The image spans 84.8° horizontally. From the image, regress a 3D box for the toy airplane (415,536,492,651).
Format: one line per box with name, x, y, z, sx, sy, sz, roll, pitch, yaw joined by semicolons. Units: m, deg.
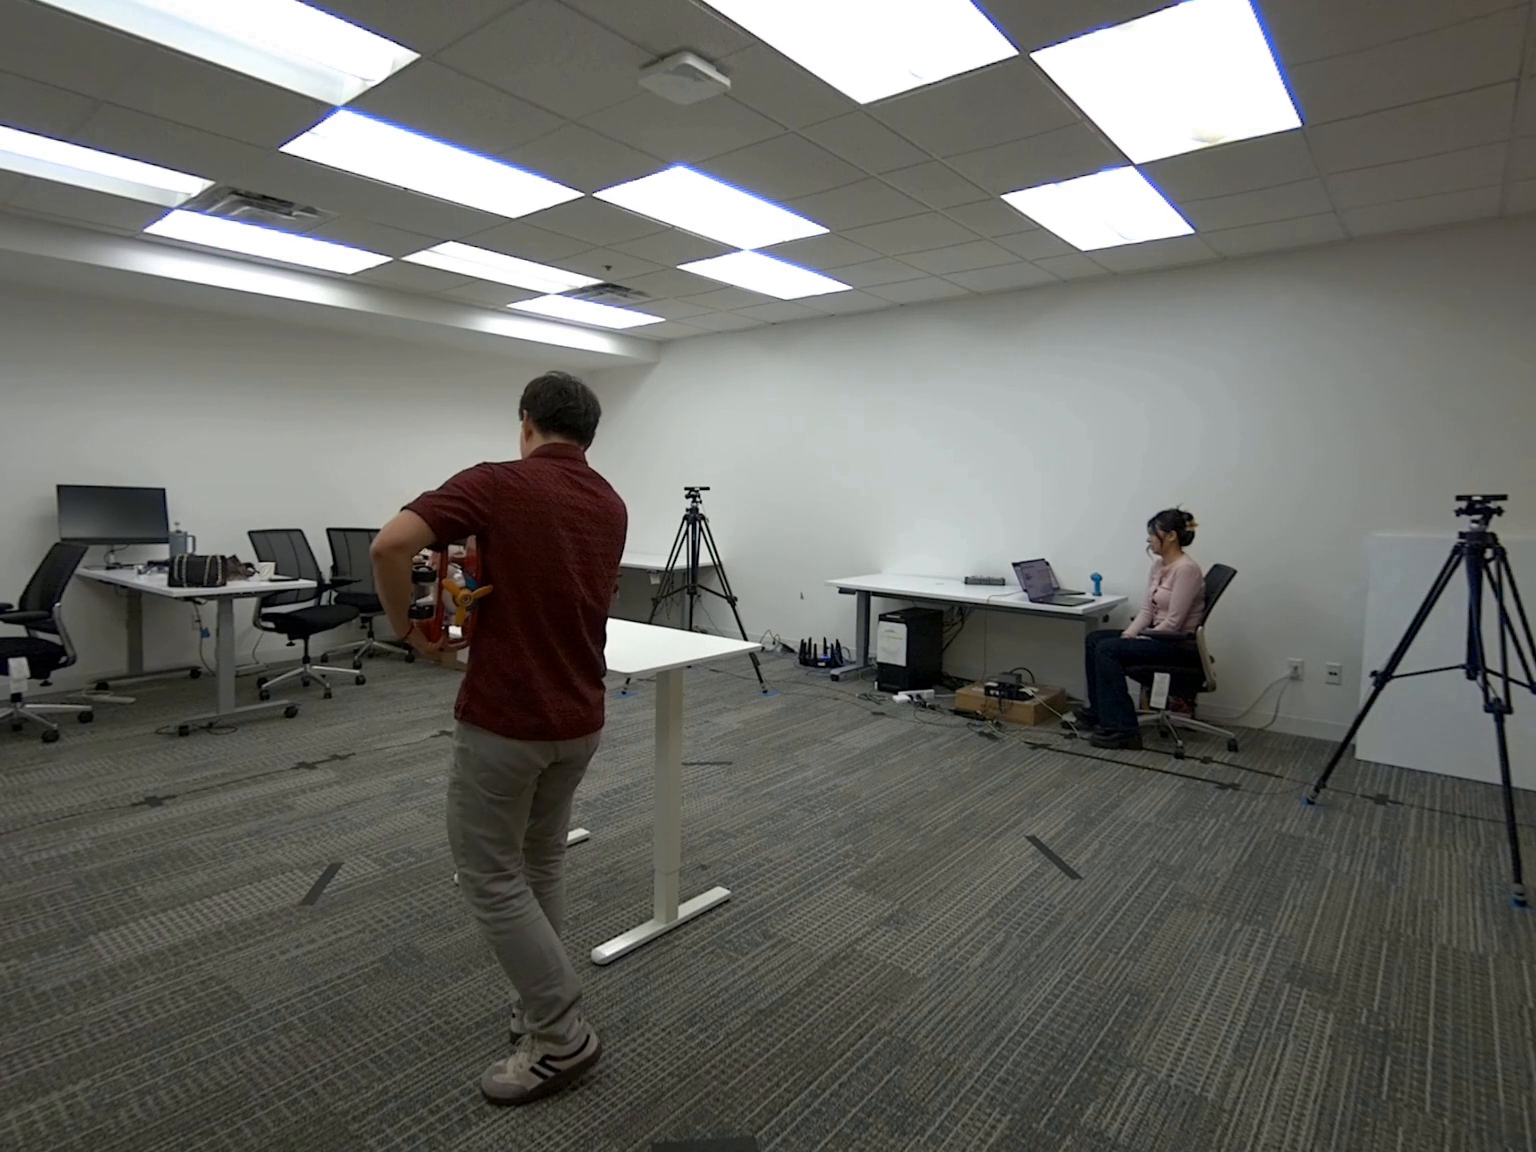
toy airplane;-0.748;-0.004;1.959;0.152;0.248;0.269;4;44;-24
